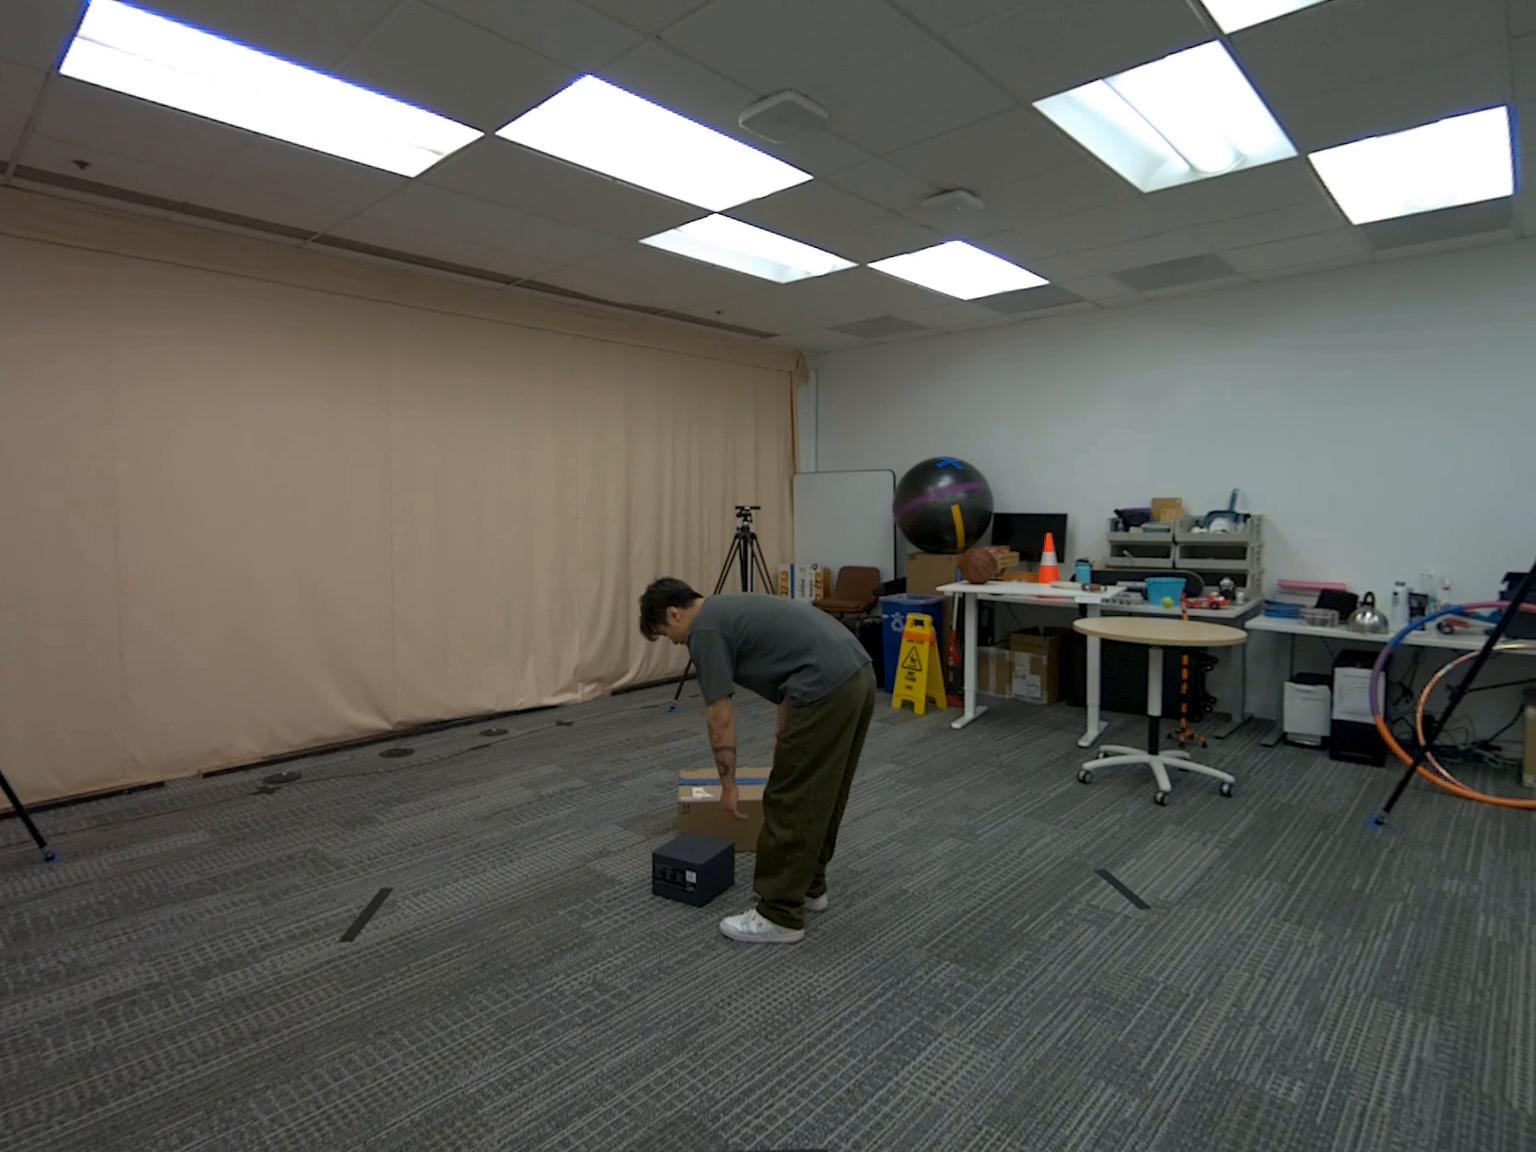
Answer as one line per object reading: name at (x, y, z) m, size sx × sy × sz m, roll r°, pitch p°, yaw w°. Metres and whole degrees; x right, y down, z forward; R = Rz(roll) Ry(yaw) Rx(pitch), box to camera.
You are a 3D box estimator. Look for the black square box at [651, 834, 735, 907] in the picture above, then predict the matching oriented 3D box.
black square box at (-0.264, 1.054, 3.055) m, size 0.223 × 0.155 × 0.222 m, roll 1°, pitch 4°, yaw 29°
